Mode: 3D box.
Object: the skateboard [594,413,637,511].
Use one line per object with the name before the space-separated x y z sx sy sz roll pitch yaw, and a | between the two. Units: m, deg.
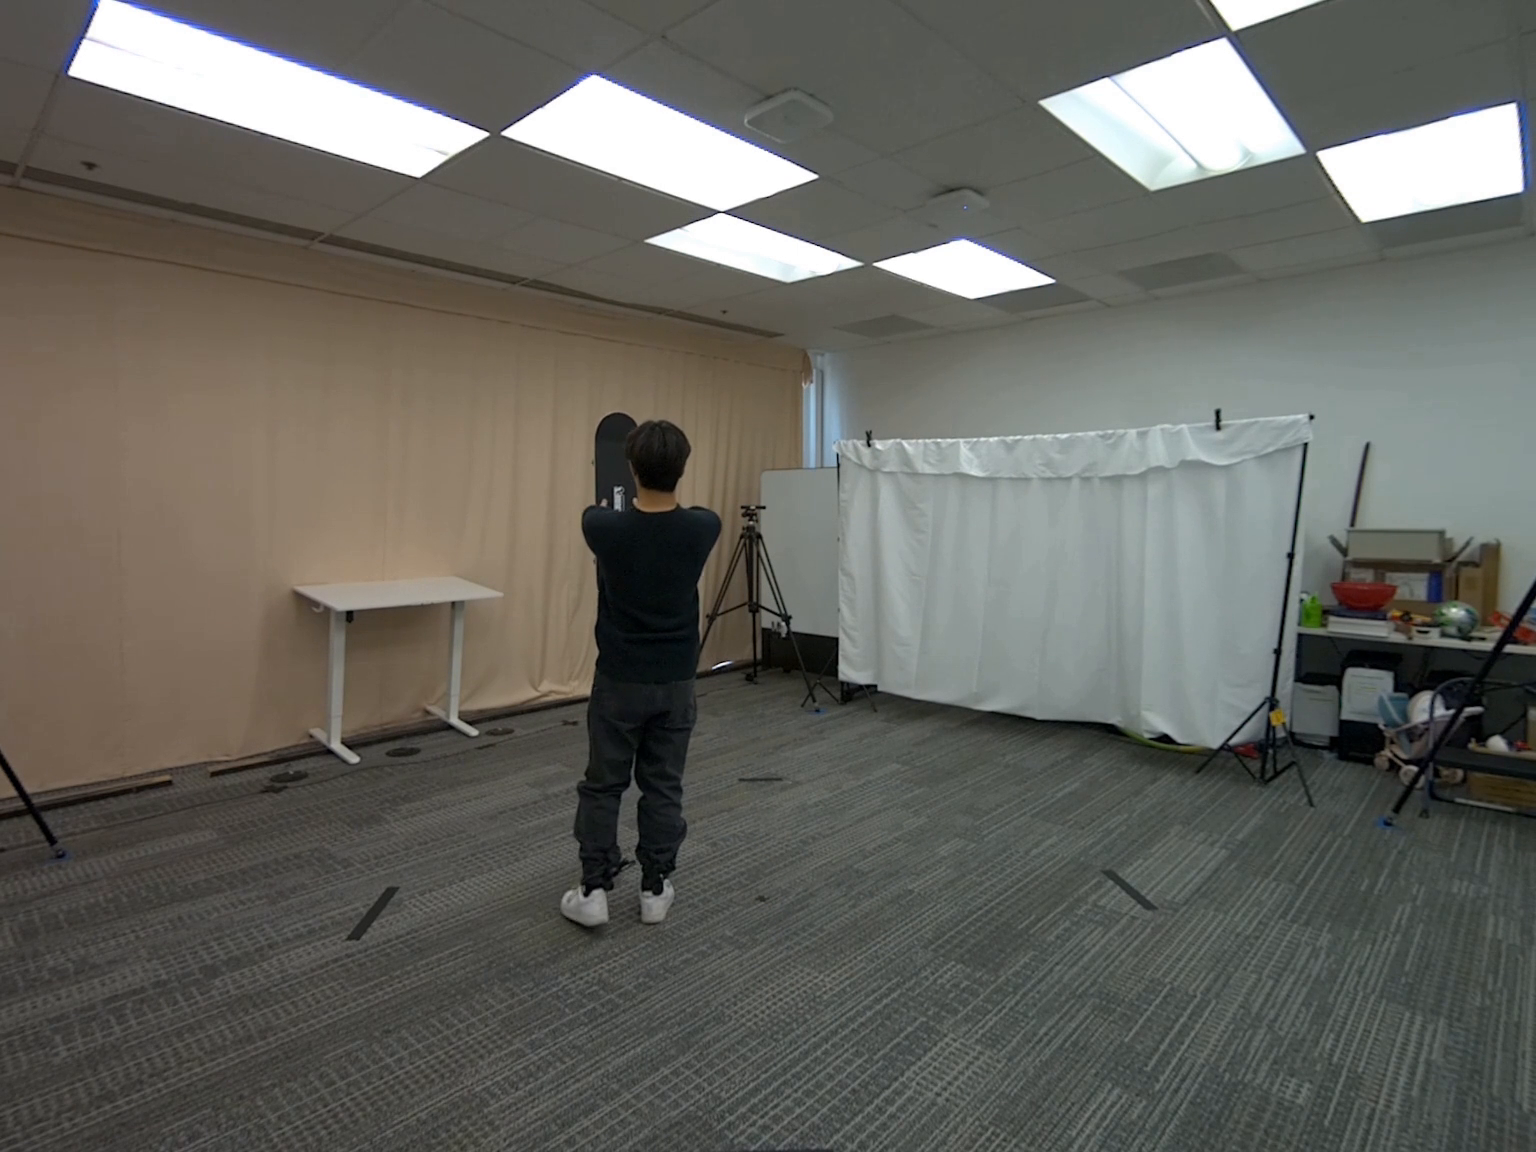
skateboard | -0.601 -0.258 3.394 0.190 0.783 0.112 -1 4 -18
